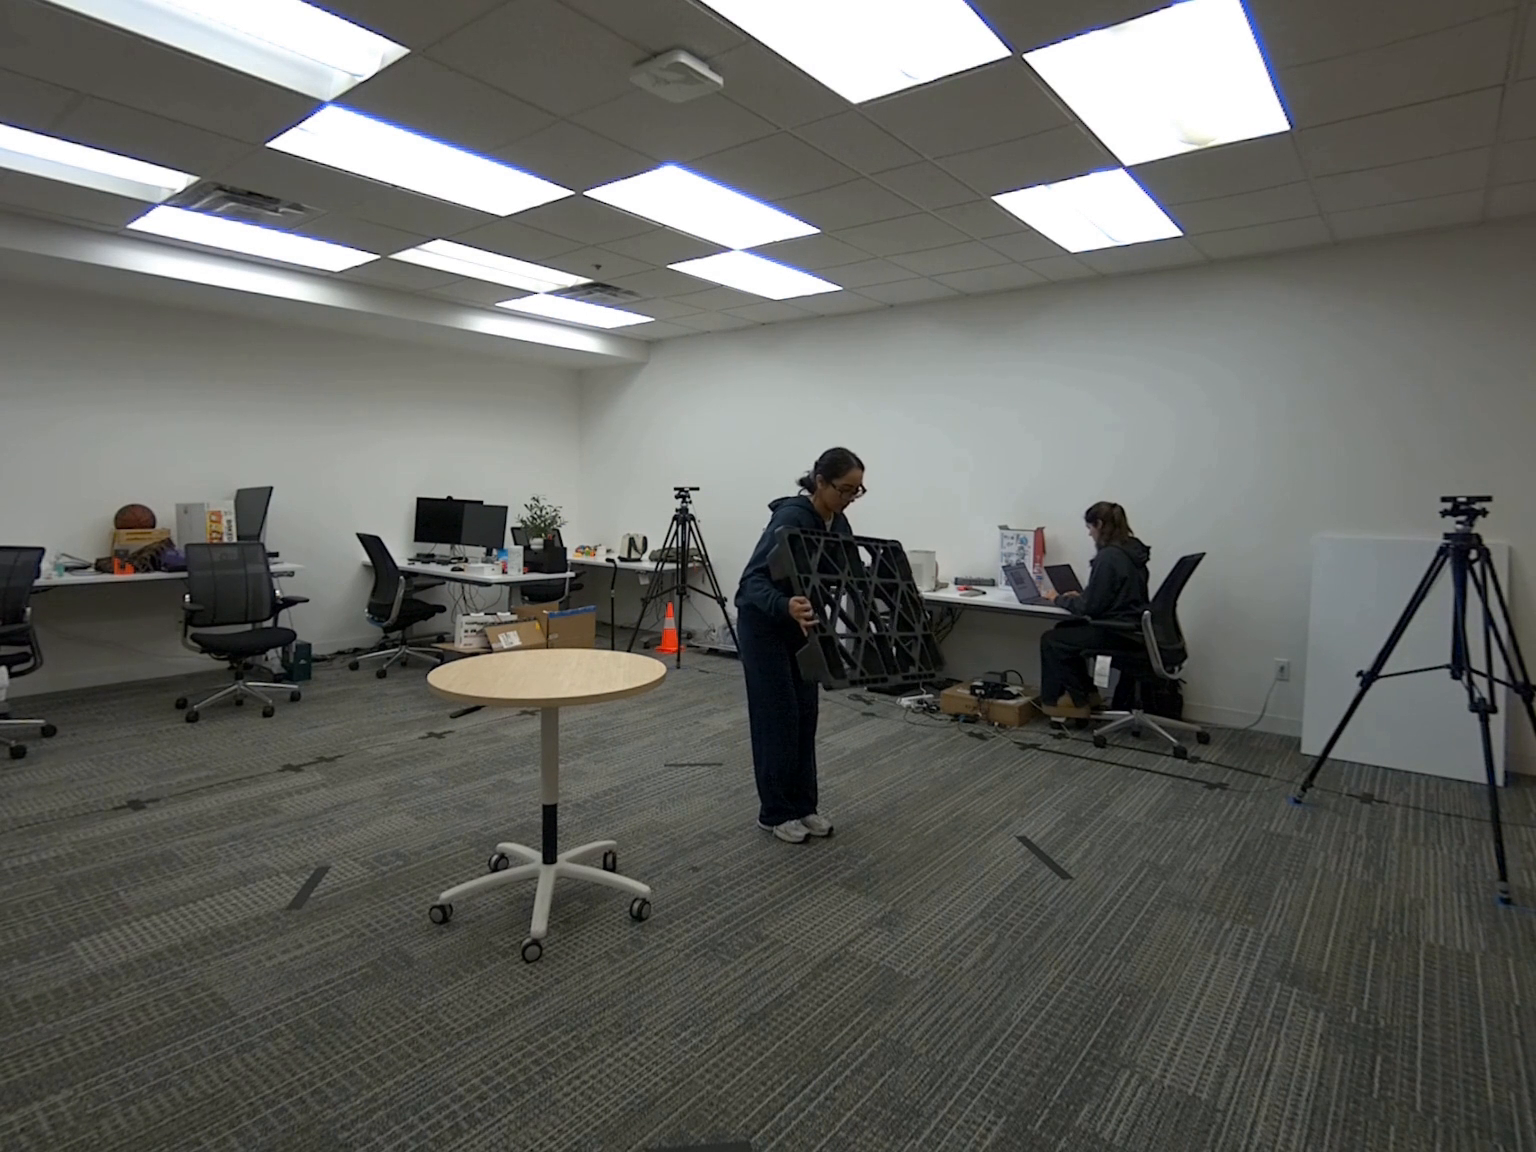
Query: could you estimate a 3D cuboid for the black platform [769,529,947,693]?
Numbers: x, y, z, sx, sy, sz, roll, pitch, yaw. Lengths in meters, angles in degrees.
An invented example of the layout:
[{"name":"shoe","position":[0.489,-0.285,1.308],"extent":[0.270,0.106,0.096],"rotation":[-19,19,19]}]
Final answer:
[{"name":"black platform","position":[0.331,0.127,3.225],"extent":[0.145,0.620,0.778],"rotation":[-33,-24,36]}]
